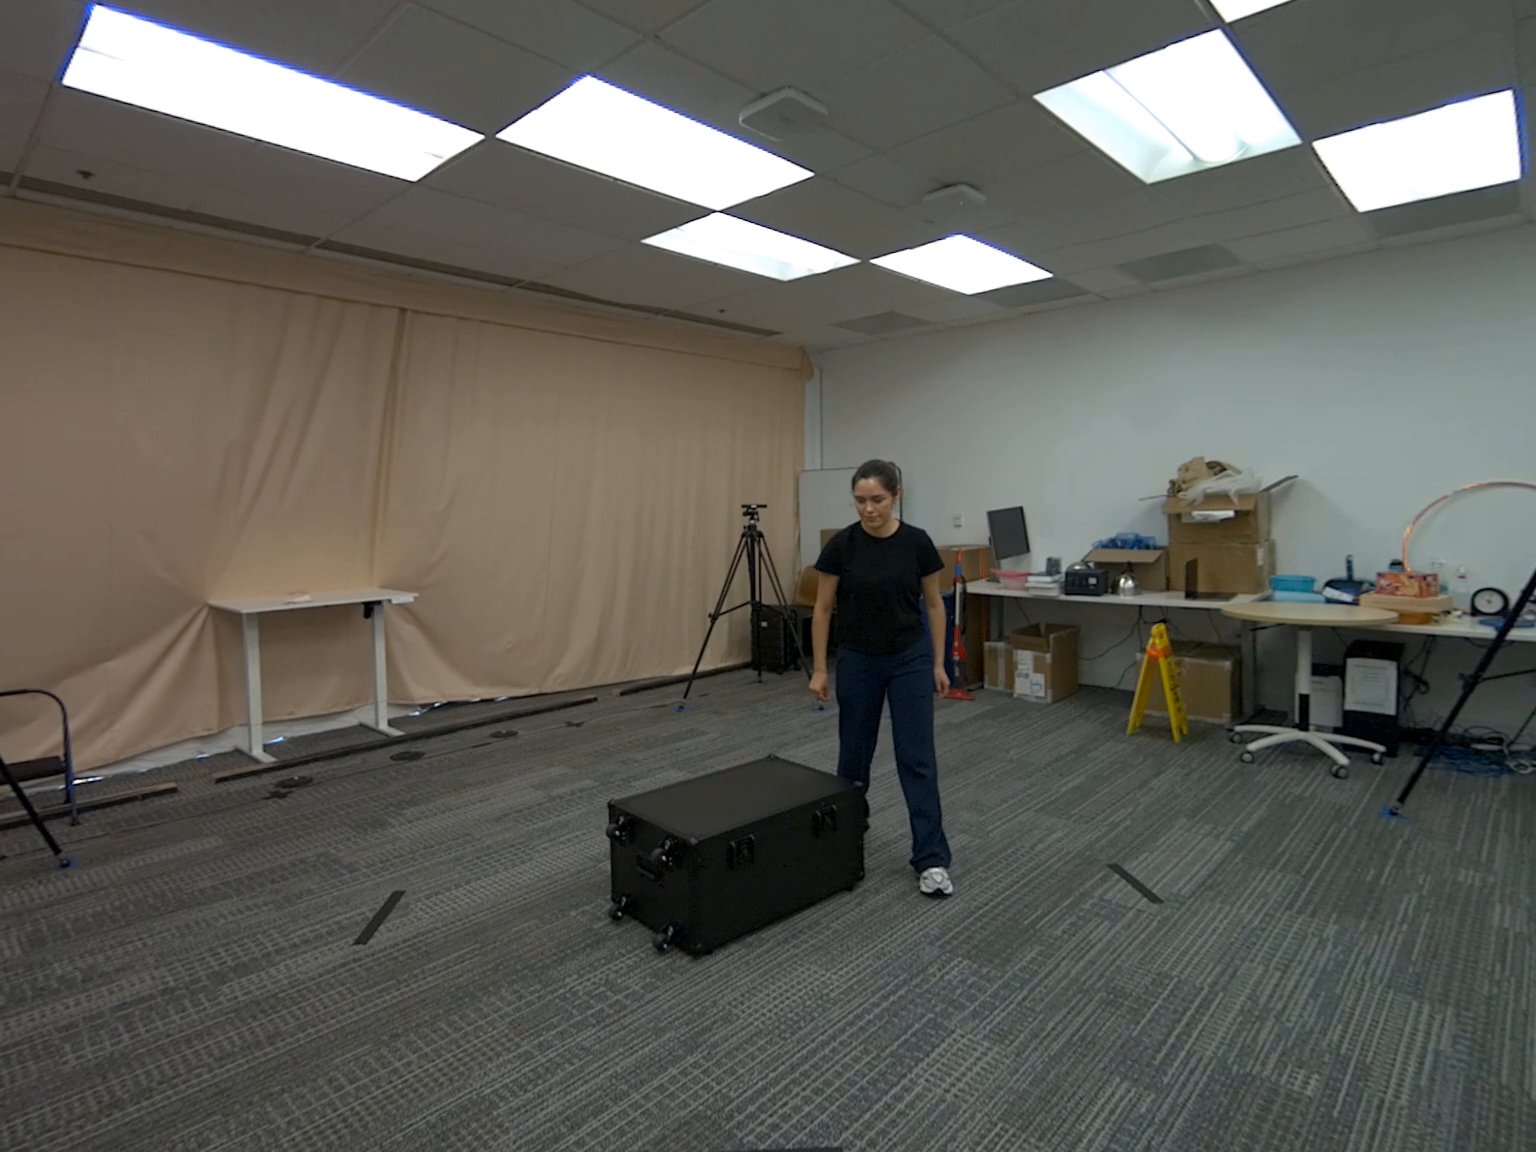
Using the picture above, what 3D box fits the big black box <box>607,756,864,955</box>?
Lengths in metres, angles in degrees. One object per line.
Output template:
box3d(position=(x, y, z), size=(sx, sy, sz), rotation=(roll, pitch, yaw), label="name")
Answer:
box3d(position=(-0.068, 0.950, 2.999), size=(0.836, 0.395, 0.538), rotation=(-5, 6, -40), label="big black box")
